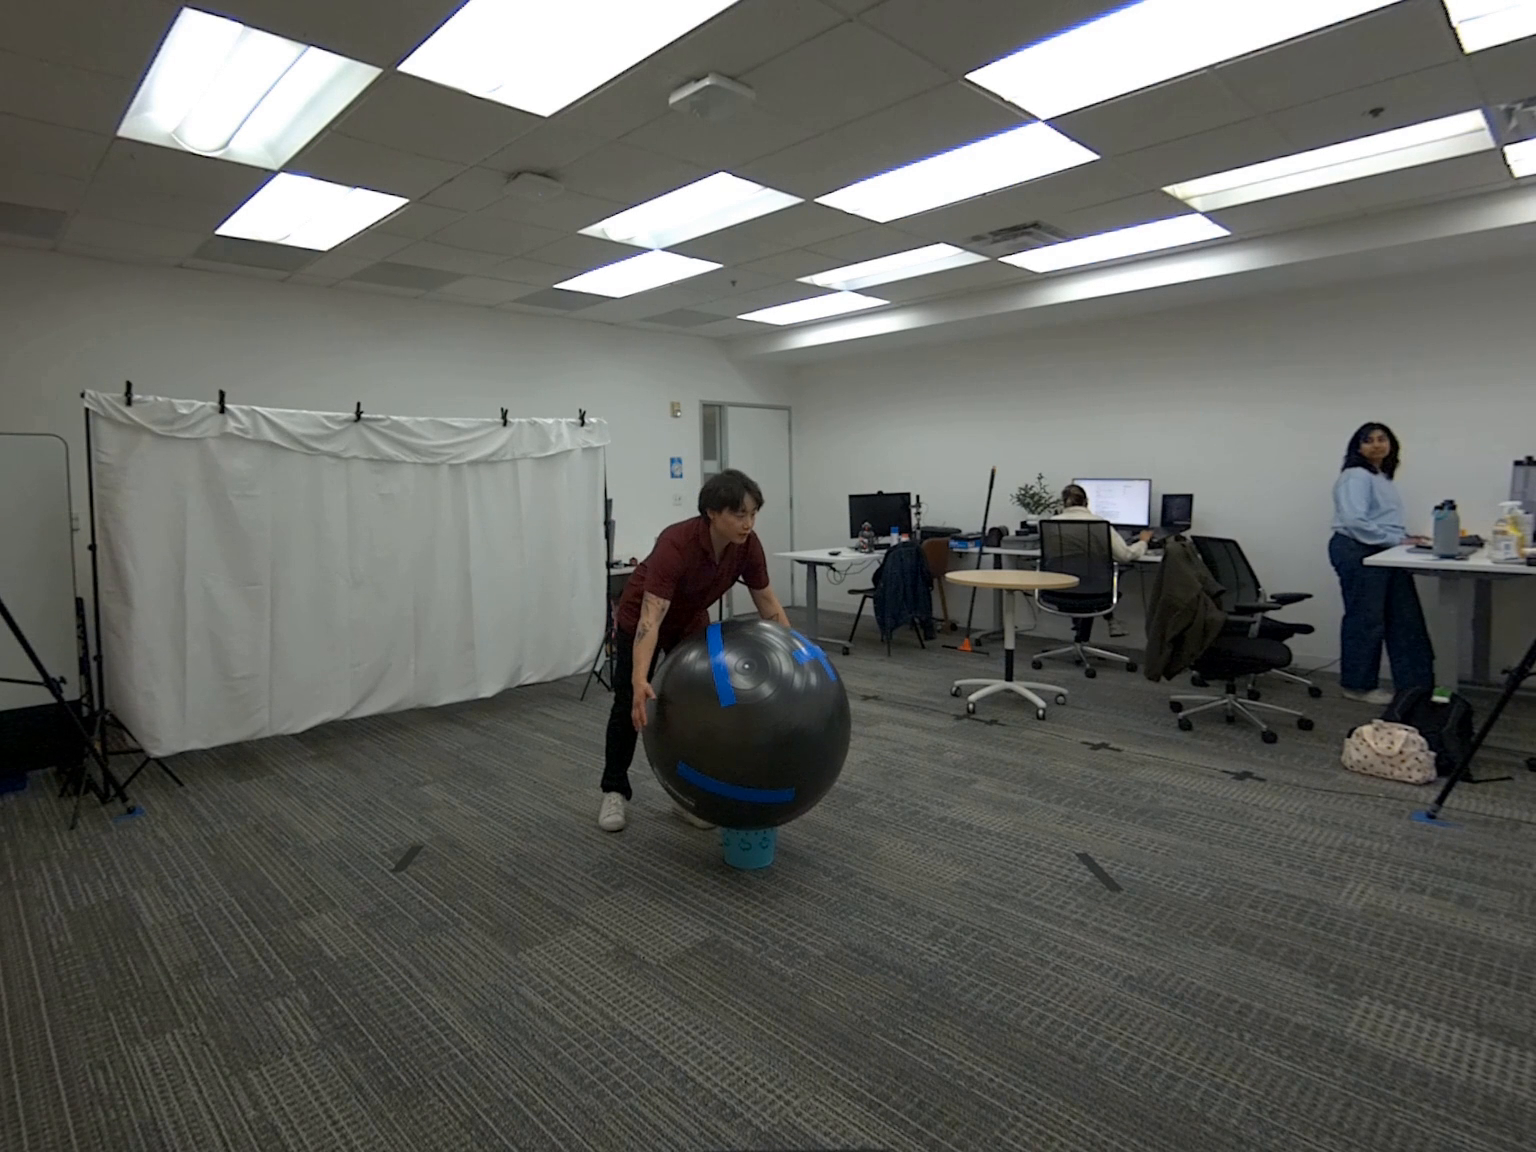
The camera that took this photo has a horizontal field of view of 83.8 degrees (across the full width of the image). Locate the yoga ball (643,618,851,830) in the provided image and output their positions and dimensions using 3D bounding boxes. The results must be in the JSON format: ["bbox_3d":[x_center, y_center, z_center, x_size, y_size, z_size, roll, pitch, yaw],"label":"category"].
[{"bbox_3d":[-0.083,0.528,3.132,0.757,0.755,0.762,-1,5,-2],"label":"yoga ball"}]
